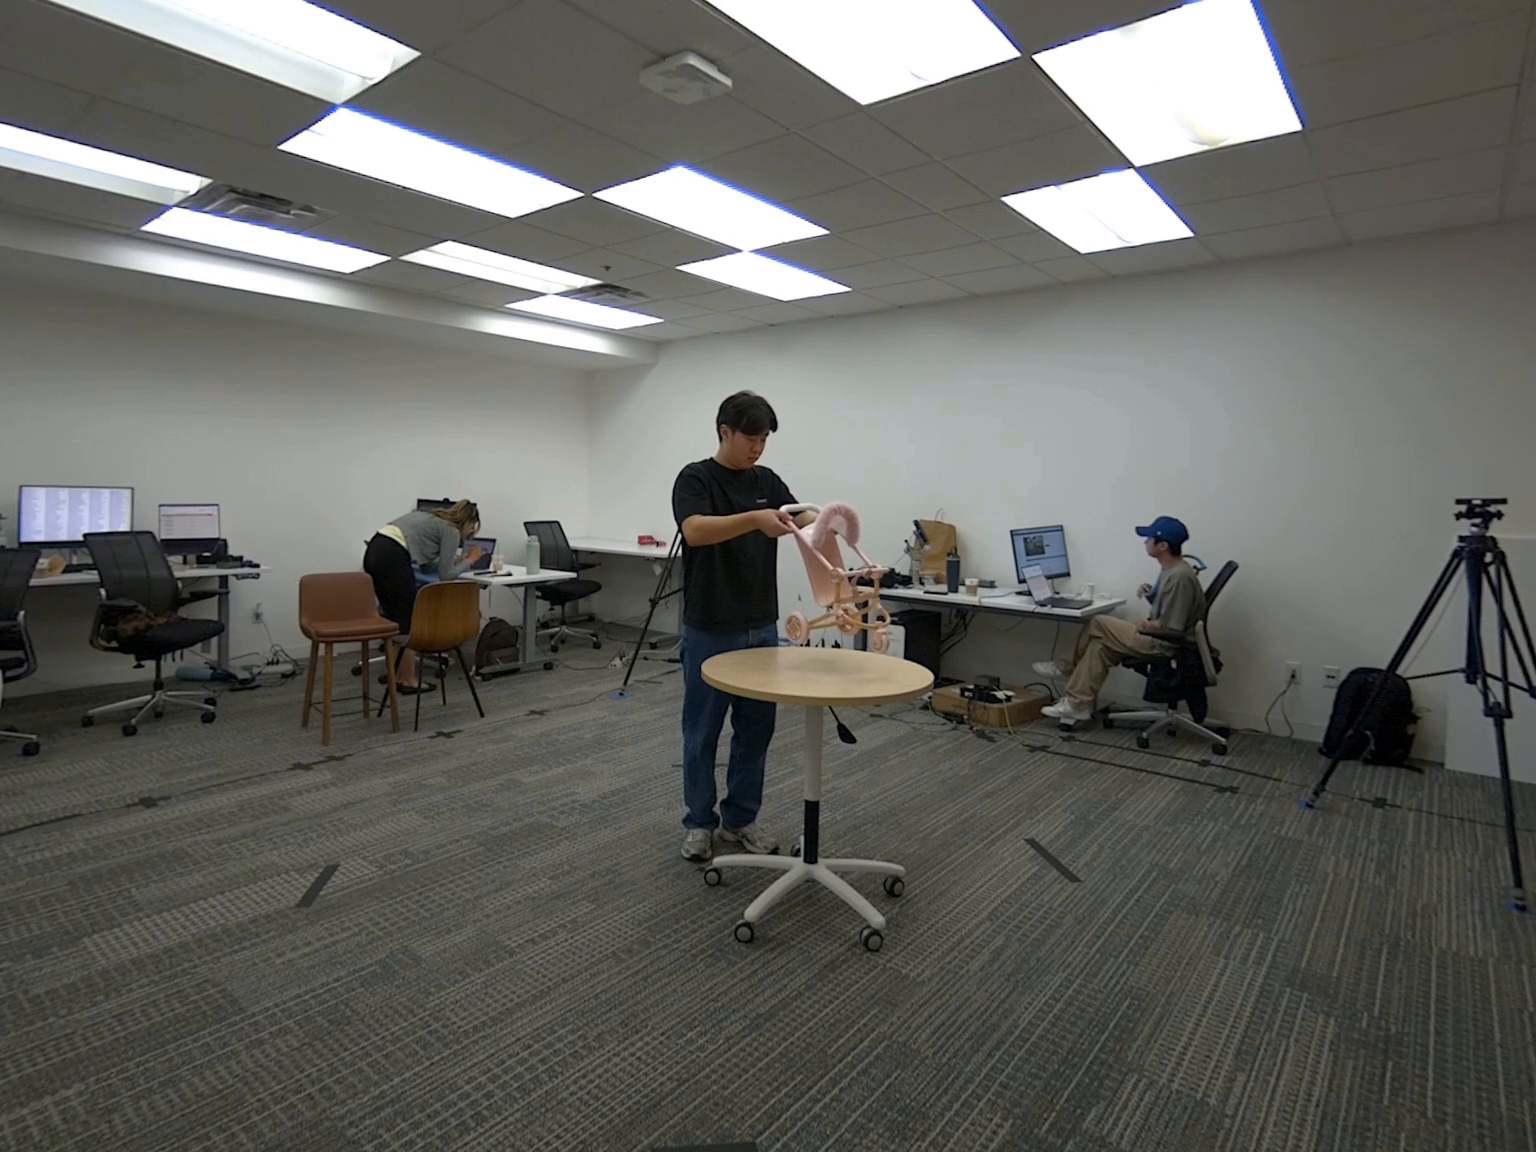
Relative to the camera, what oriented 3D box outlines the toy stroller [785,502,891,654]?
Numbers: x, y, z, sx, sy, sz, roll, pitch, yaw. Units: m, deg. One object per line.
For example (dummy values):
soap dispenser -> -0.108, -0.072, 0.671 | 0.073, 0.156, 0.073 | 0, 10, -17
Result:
toy stroller -> 0.225, -0.004, 2.807 | 0.273, 0.539, 0.349 | -3, -7, -35
